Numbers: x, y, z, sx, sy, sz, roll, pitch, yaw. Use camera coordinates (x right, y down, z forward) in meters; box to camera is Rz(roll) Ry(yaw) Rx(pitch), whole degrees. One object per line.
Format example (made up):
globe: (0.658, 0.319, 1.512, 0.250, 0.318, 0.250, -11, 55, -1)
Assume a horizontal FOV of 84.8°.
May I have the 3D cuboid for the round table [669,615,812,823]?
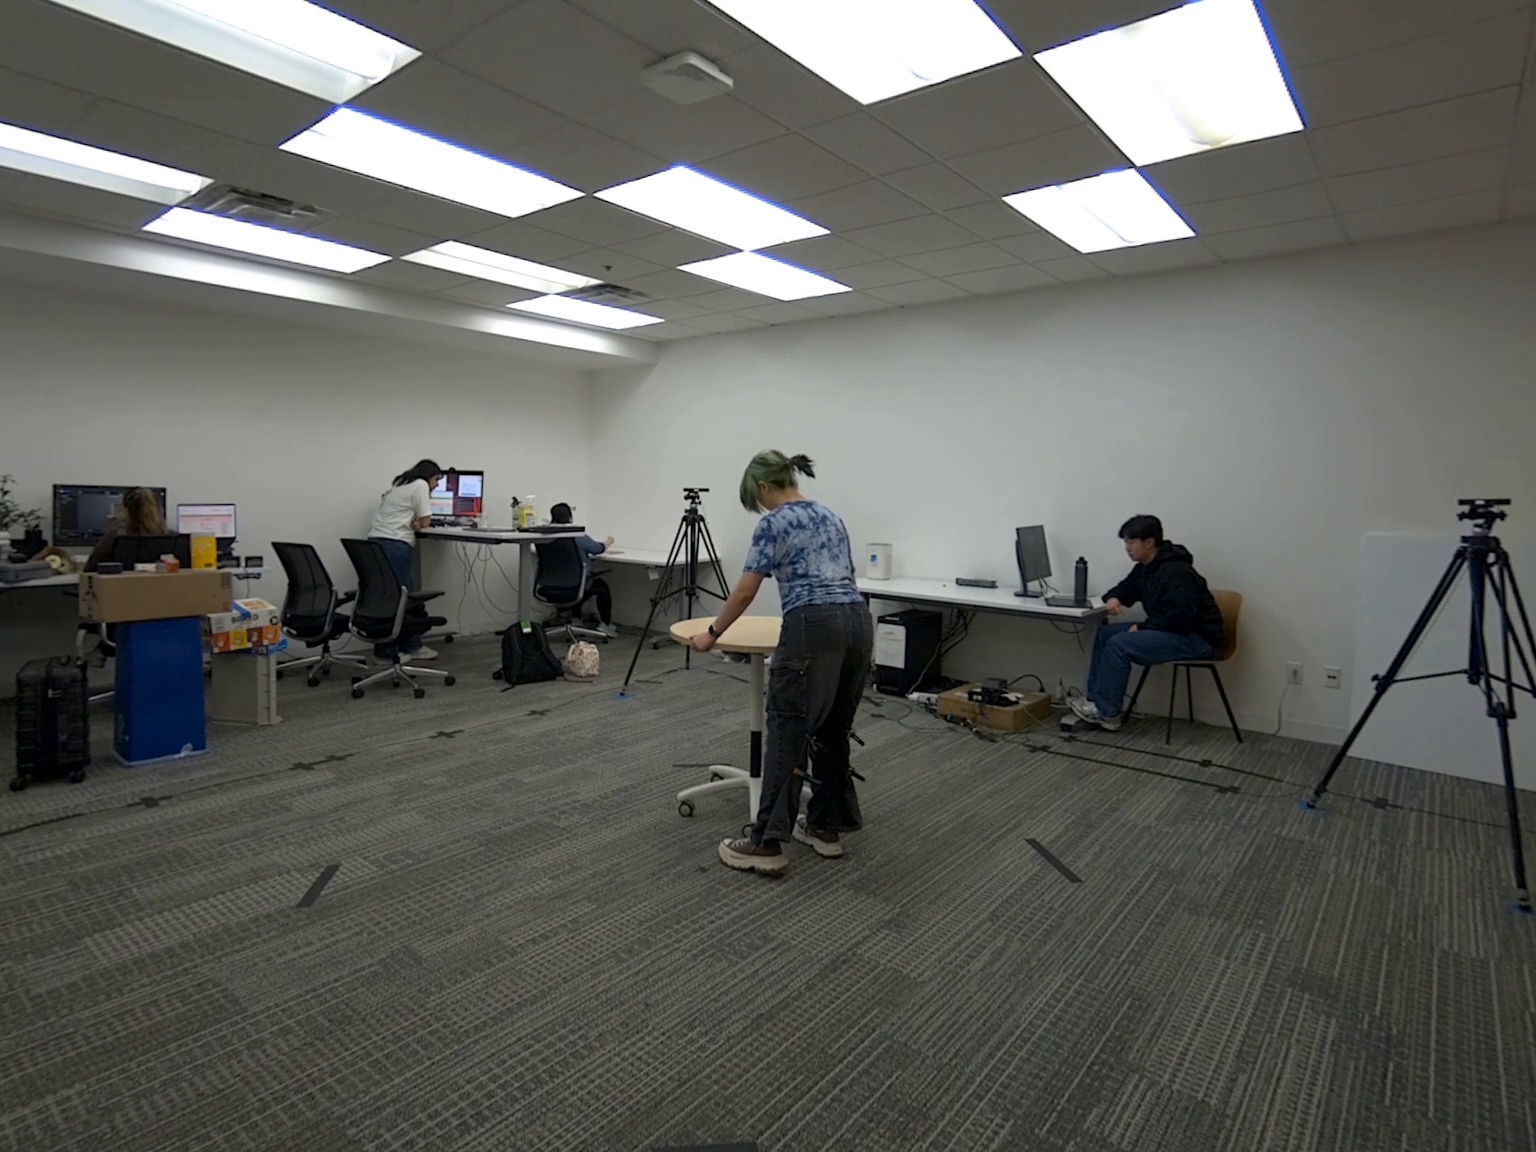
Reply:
round table: (-0.069, 0.623, 3.705, 0.763, 0.792, 0.767, 1, 4, -2)
